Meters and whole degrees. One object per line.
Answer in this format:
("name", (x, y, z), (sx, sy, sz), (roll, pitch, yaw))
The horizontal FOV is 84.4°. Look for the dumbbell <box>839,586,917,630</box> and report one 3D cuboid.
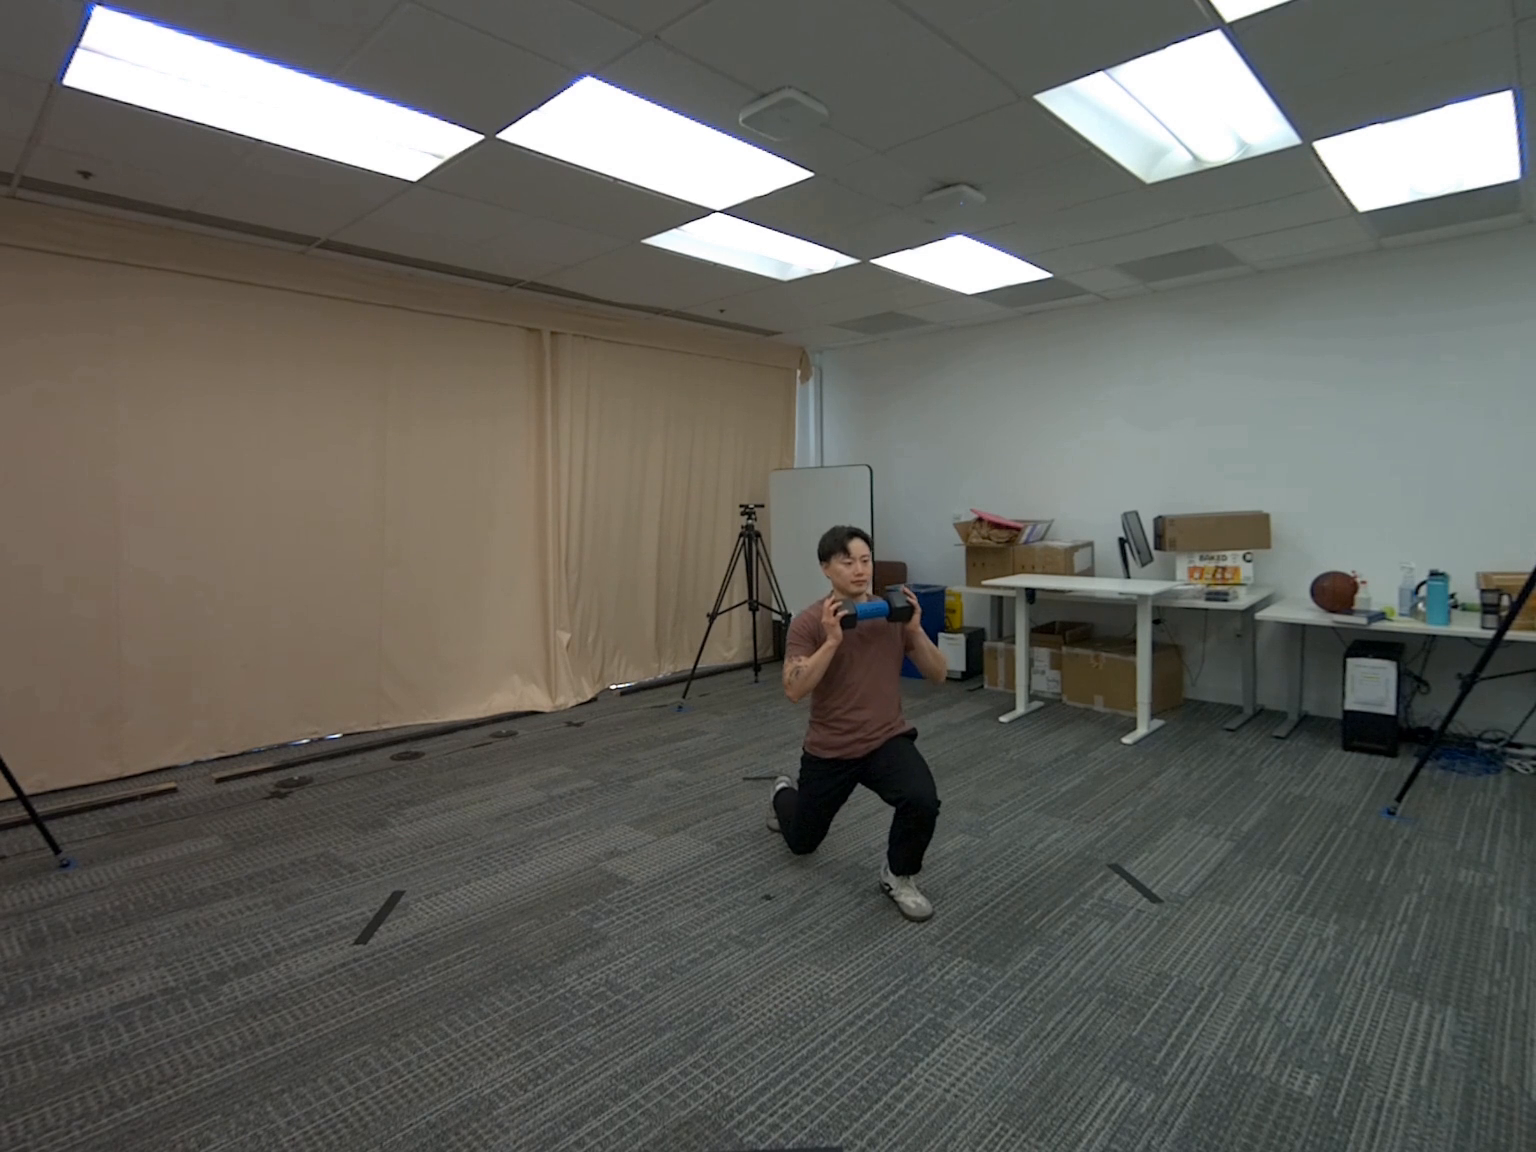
("dumbbell", (0.348, 0.121, 2.990), (0.290, 0.109, 0.124), (-9, -5, -12))
